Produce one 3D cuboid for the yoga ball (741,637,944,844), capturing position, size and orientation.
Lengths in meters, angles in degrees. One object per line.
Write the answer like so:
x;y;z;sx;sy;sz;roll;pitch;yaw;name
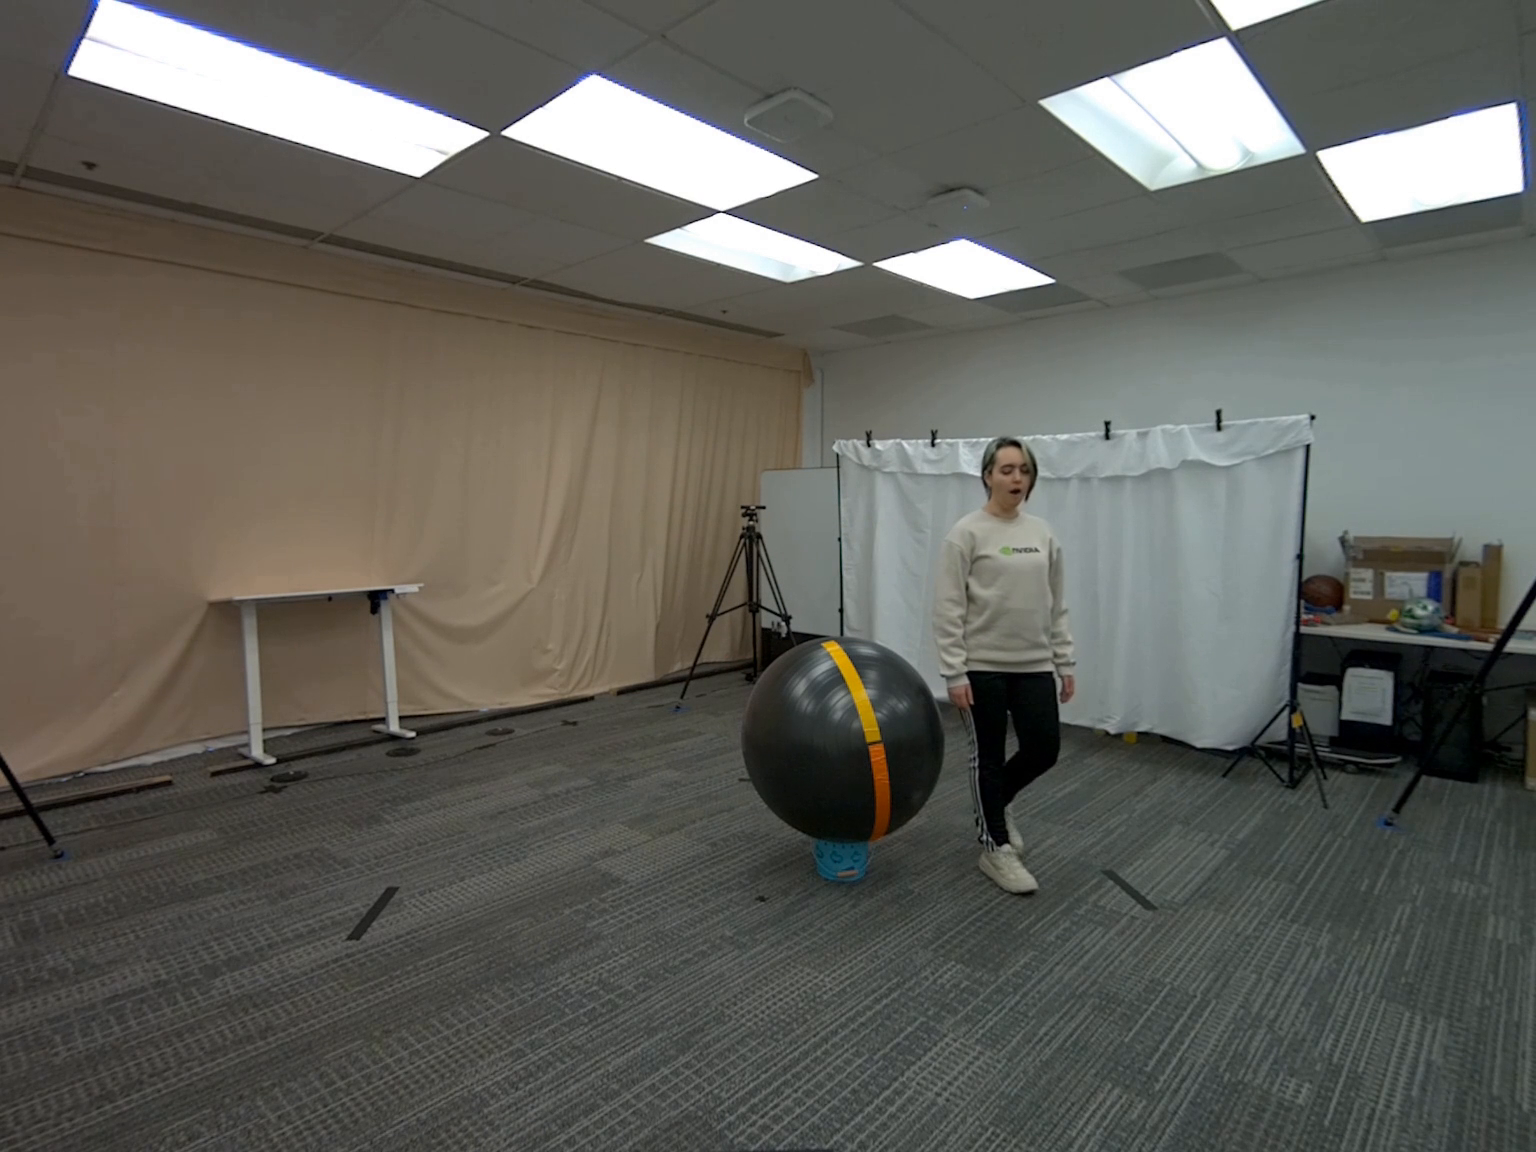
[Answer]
0.277;0.615;3.186;0.757;0.756;0.760;0;4;-2;yoga ball
